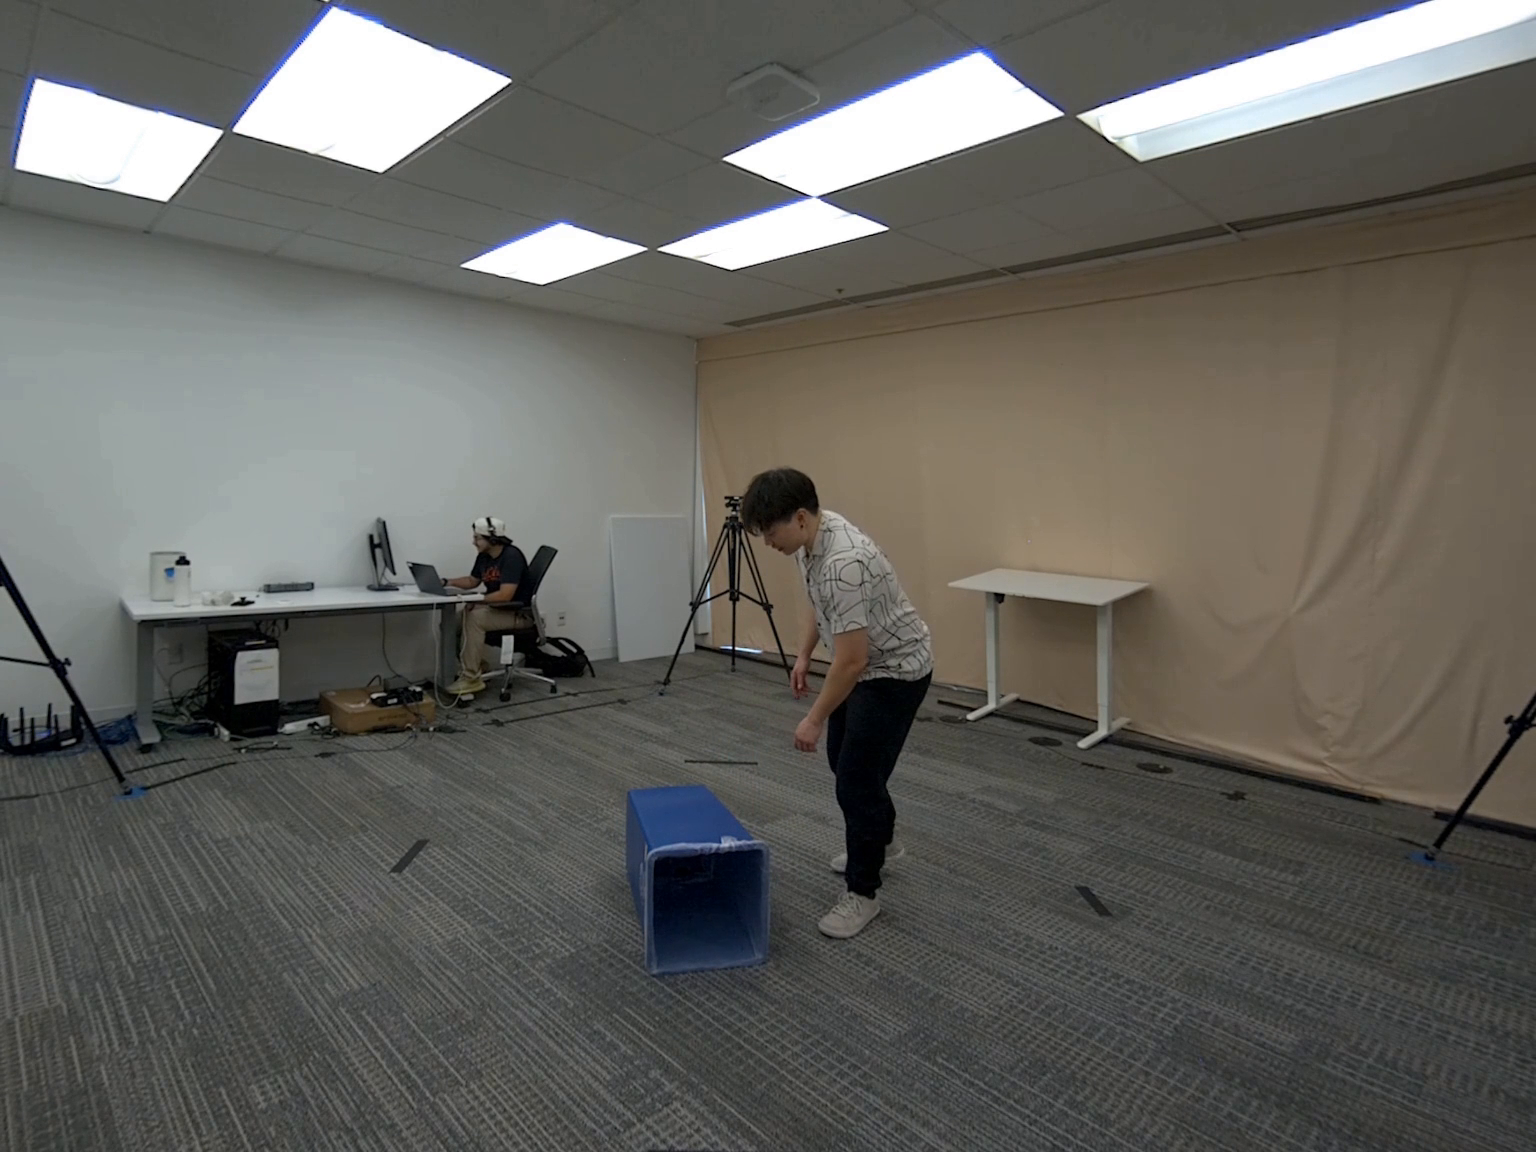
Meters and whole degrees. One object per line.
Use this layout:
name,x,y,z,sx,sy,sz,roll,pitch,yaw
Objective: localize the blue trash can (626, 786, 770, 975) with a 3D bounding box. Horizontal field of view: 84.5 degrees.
blue trash can,-0.273,0.963,2.806,0.373,0.374,0.722,1,1,-16
